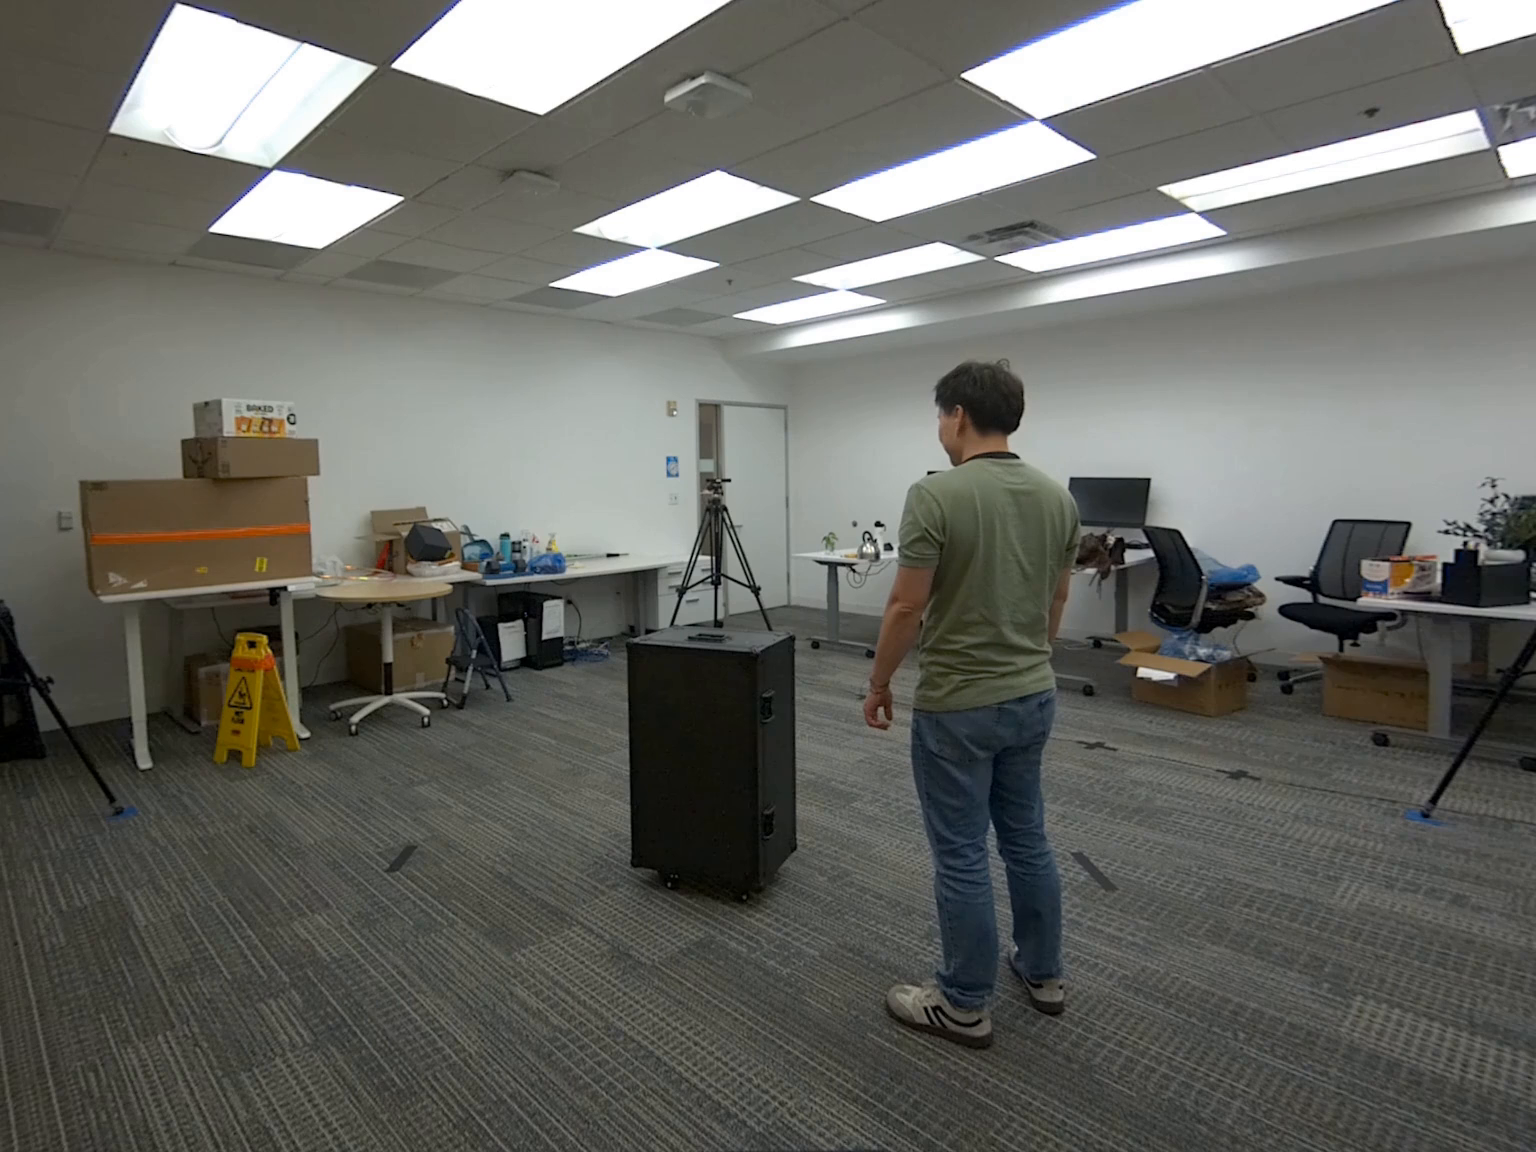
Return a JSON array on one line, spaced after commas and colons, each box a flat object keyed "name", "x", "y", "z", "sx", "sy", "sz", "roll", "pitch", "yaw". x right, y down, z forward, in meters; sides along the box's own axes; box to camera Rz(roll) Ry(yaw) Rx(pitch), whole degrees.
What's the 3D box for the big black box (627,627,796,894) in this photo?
[{"name": "big black box", "x": -0.187, "y": 0.631, "z": 2.989, "sx": 0.533, "sy": 0.859, "sz": 0.388, "roll": 1, "pitch": 4, "yaw": 24}]
